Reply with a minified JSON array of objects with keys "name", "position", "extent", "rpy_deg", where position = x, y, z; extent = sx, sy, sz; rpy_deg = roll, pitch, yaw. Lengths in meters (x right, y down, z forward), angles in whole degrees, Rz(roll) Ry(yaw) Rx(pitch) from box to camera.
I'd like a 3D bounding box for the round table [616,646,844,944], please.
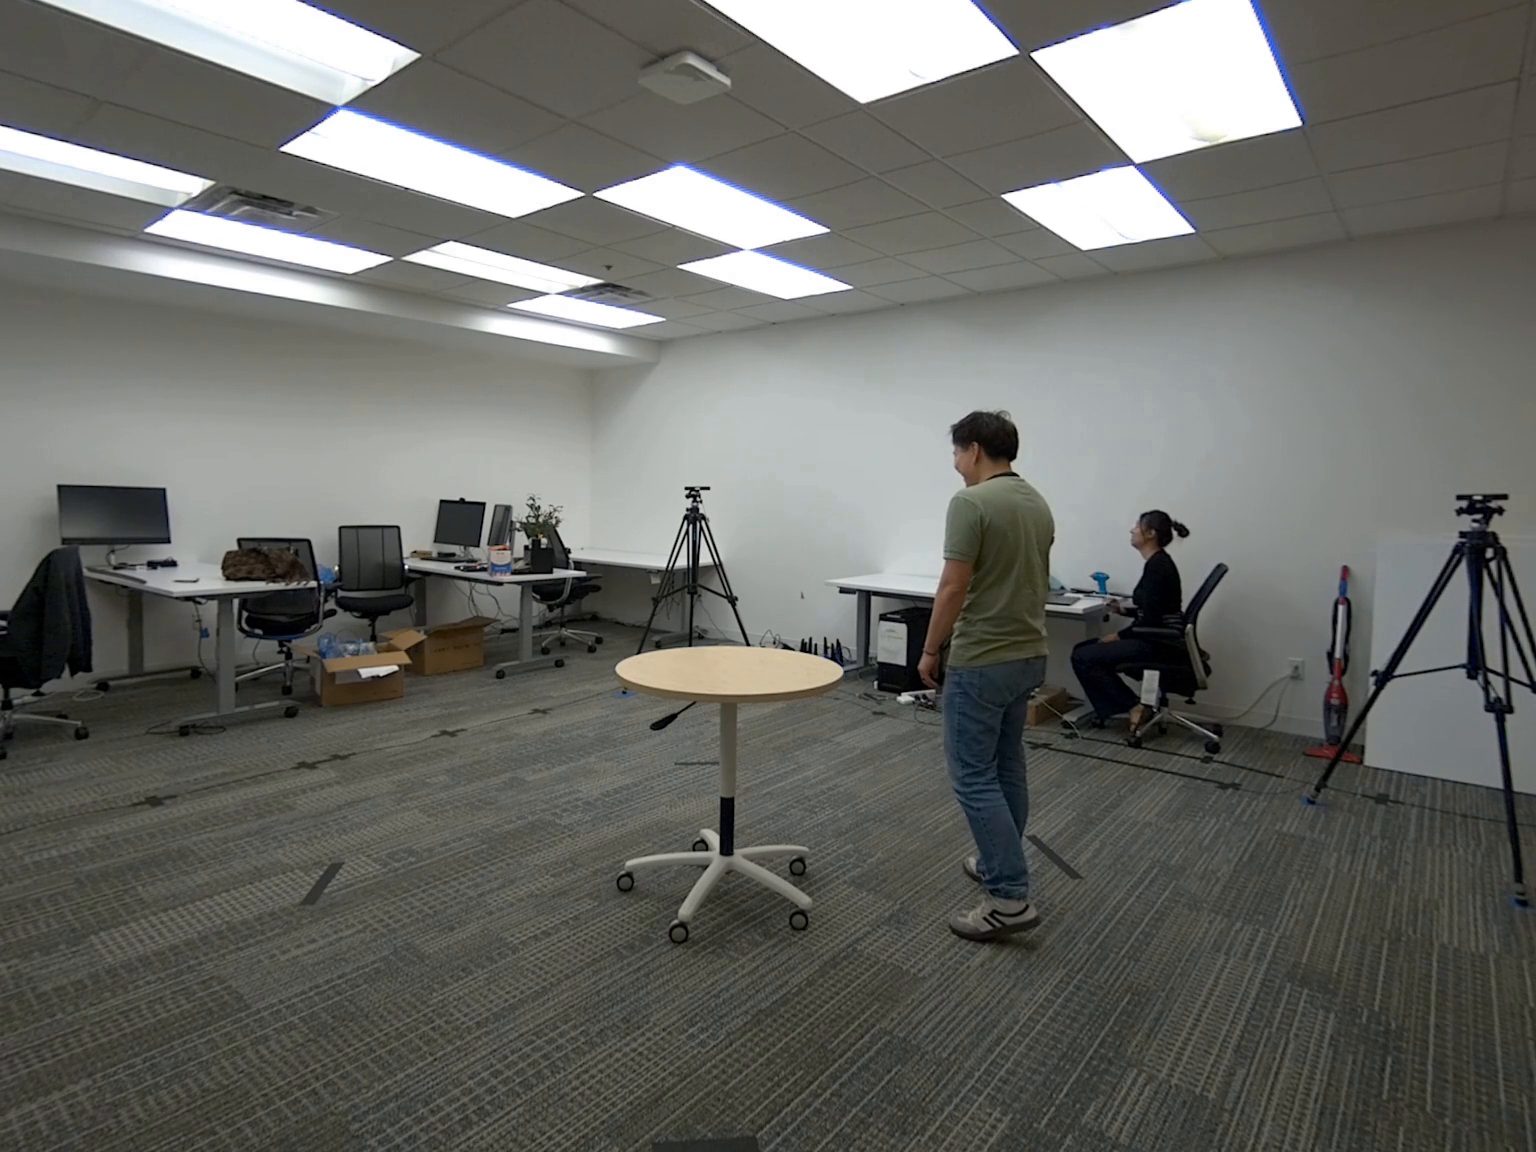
[{"name":"round table","position":[-0.148,0.699,2.897],"extent":[0.763,0.791,0.768],"rpy_deg":[1,4,-2]}]
